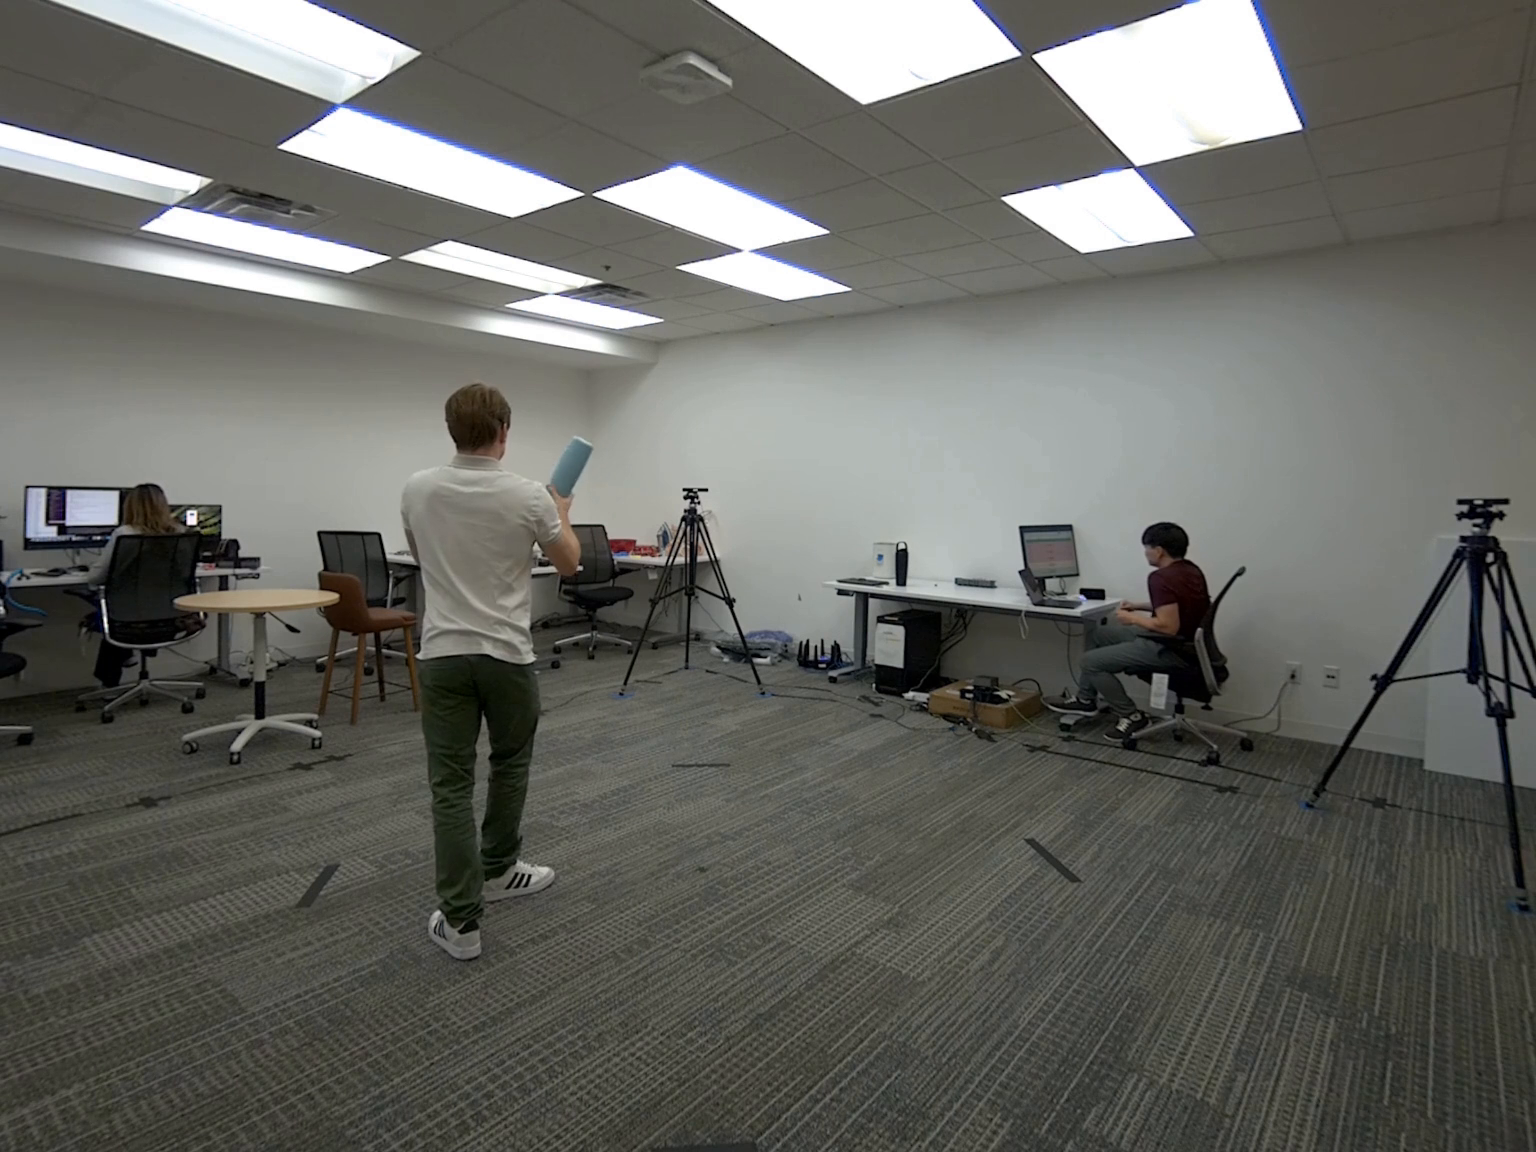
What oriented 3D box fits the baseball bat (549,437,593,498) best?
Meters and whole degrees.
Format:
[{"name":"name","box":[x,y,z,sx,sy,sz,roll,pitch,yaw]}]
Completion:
[{"name":"baseball bat","box":[-0.807,-0.247,3.064,0.089,0.542,0.089,28,4,-4]}]
